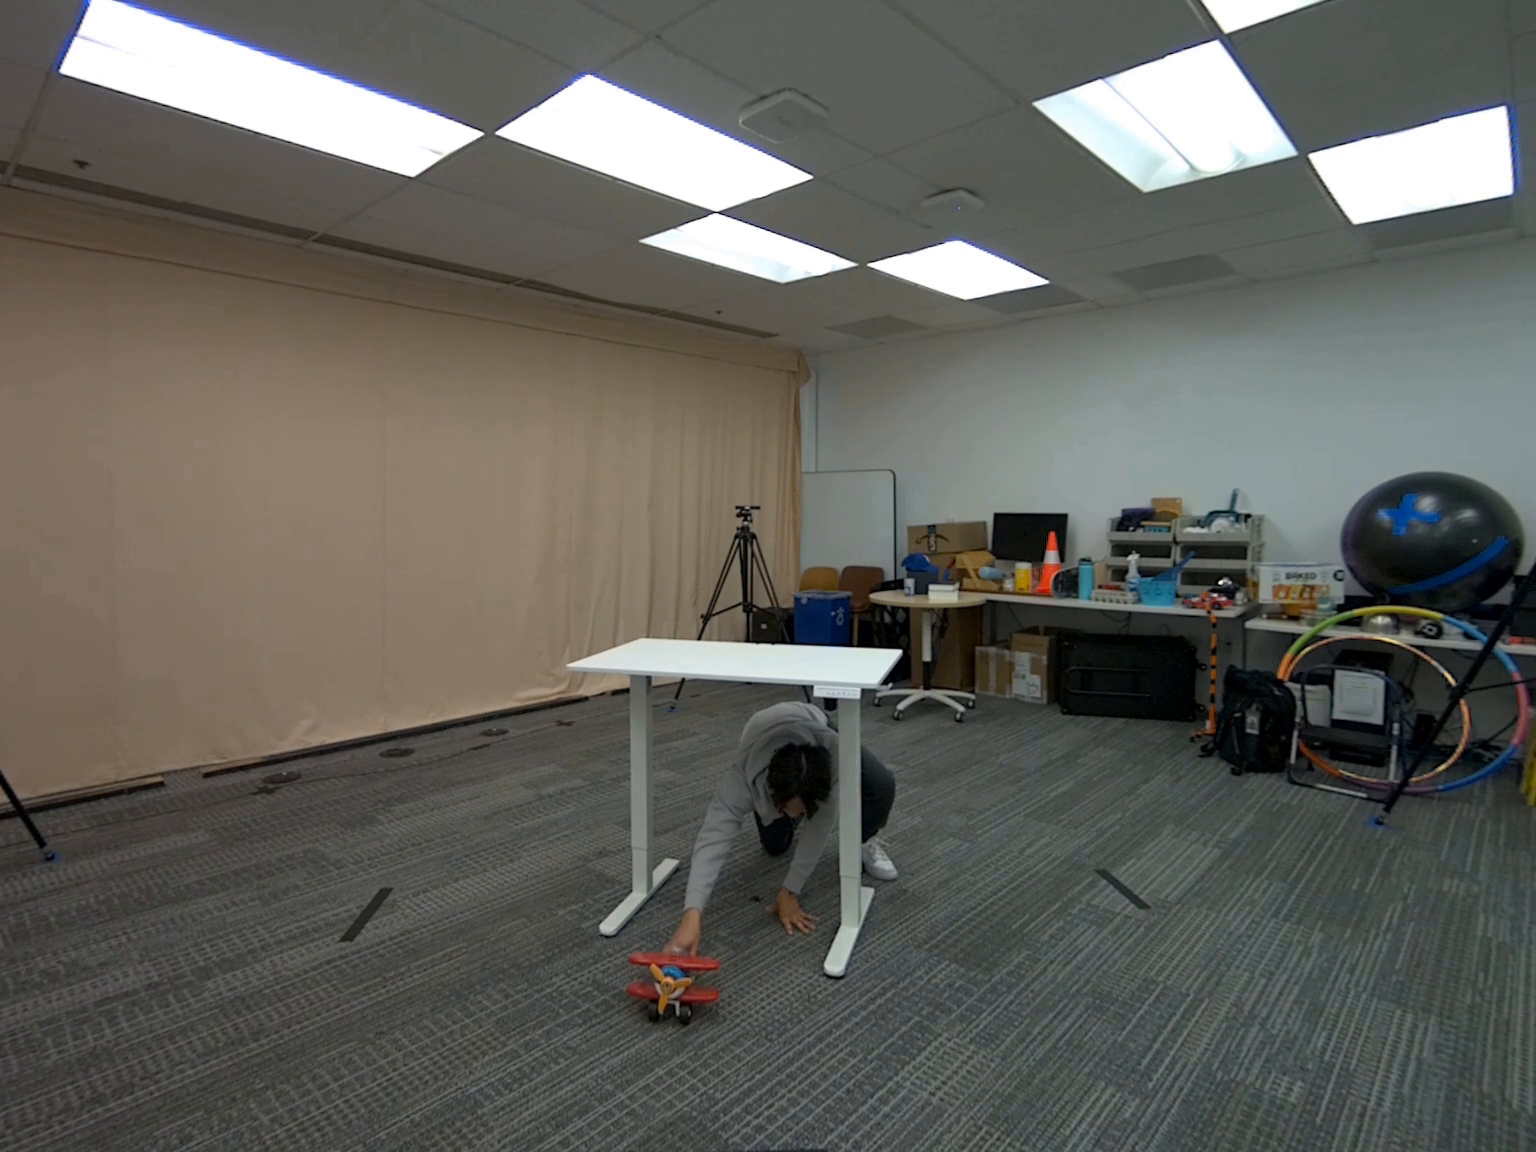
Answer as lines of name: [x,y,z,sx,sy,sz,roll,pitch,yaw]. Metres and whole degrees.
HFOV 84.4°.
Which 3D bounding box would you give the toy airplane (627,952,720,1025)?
toy airplane: [-0.273,1.126,2.355,0.246,0.156,0.265,-1,5,-22]
